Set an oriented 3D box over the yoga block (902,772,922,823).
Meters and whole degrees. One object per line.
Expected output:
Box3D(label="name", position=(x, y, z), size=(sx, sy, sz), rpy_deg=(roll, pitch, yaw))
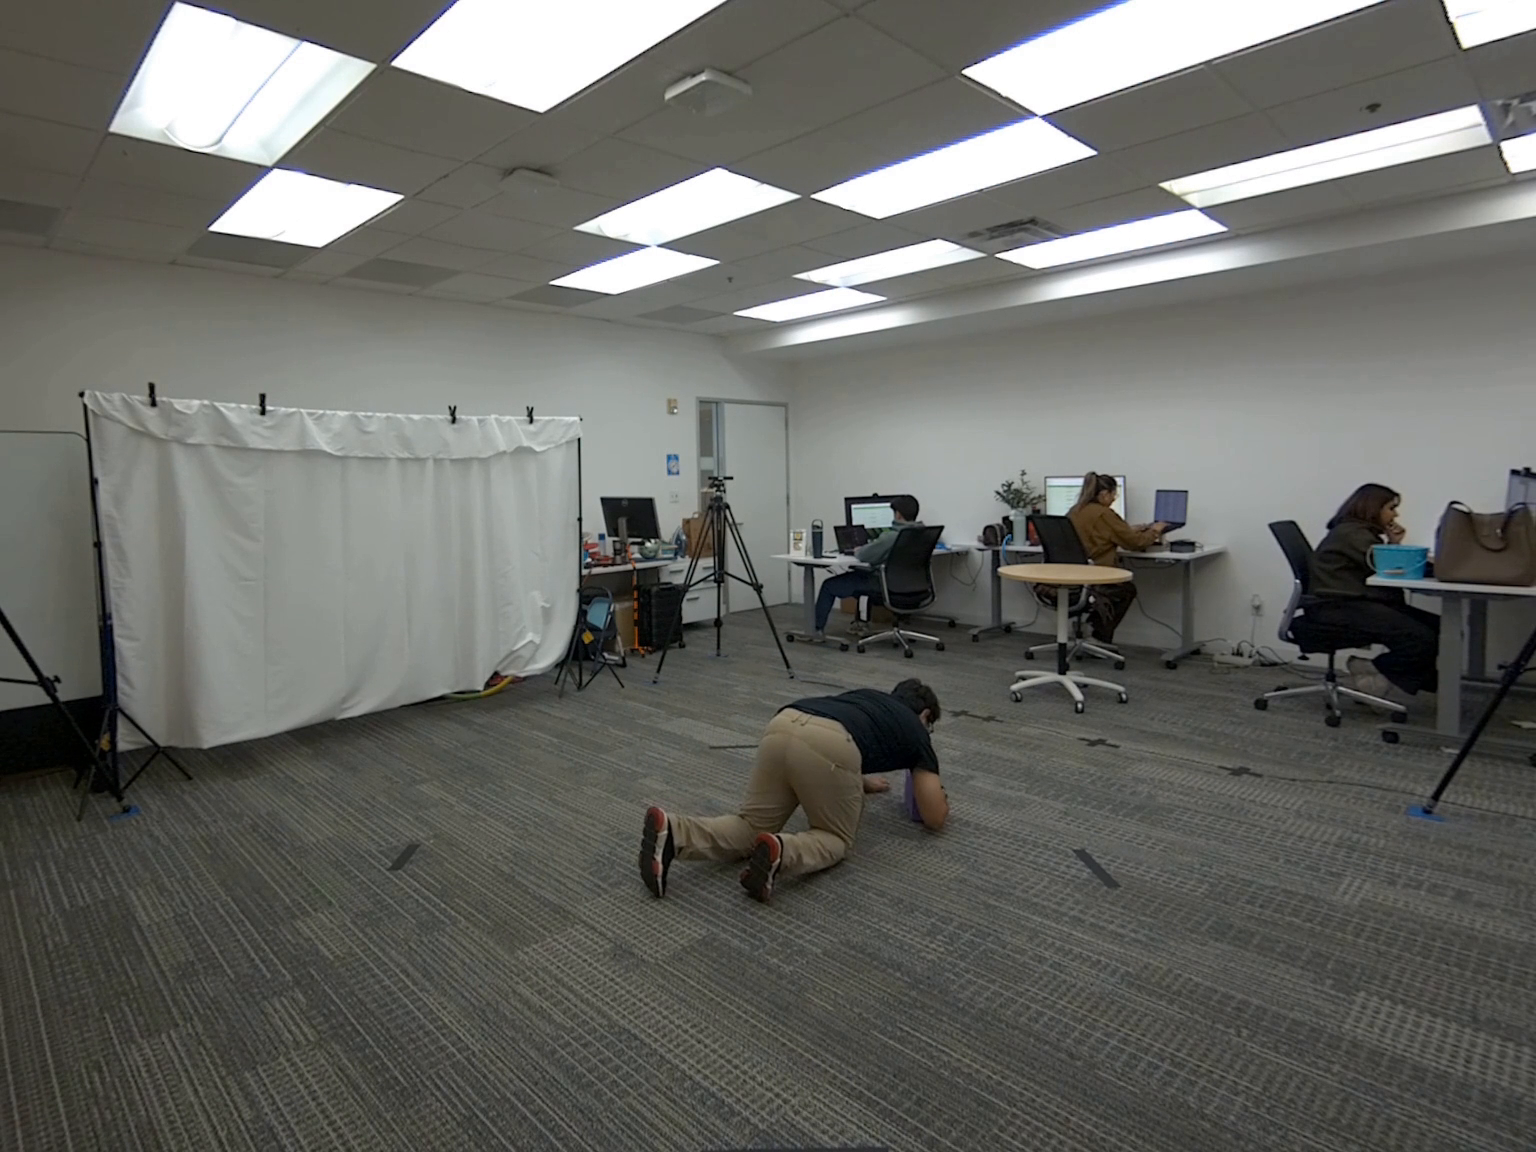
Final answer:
Box3D(label="yoga block", position=(0.621, 0.898, 3.531), size=(0.076, 0.148, 0.229), rpy_deg=(2, 4, 1))
